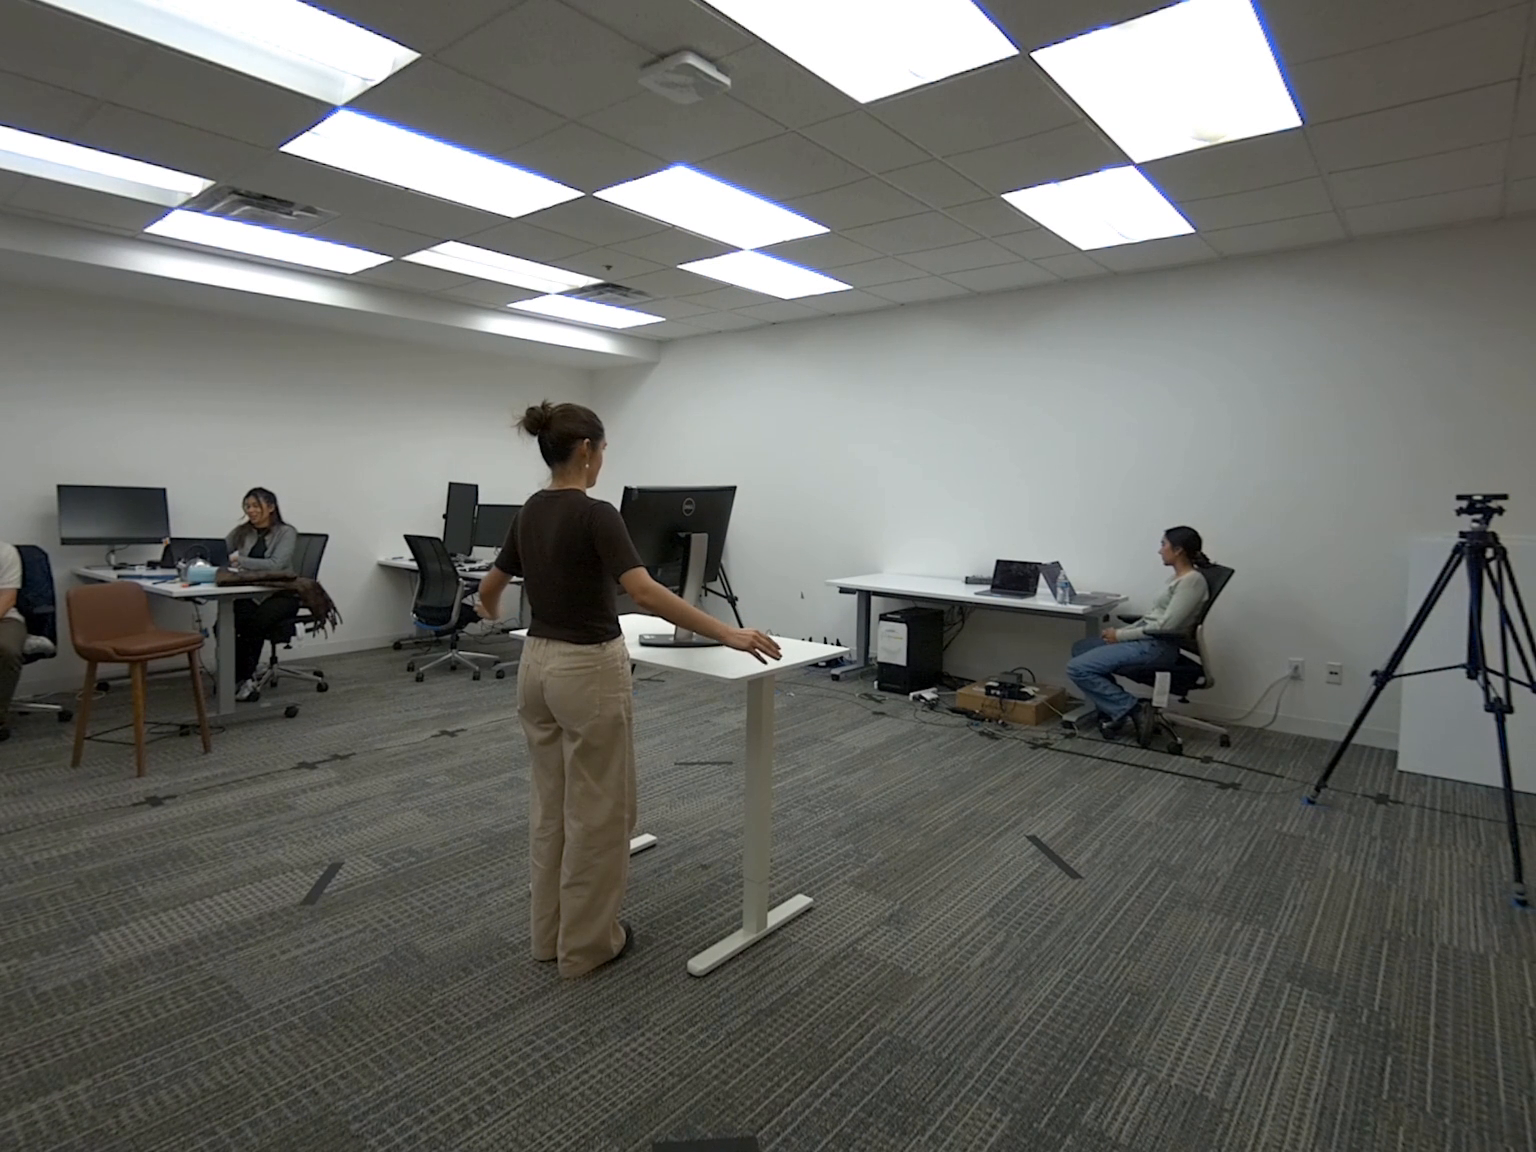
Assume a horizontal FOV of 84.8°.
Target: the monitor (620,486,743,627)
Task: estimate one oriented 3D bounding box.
[{"bbox_3d":[-0.300,-0.036,2.750,0.193,0.520,0.525,3,6,34],"label":"monitor"}]
